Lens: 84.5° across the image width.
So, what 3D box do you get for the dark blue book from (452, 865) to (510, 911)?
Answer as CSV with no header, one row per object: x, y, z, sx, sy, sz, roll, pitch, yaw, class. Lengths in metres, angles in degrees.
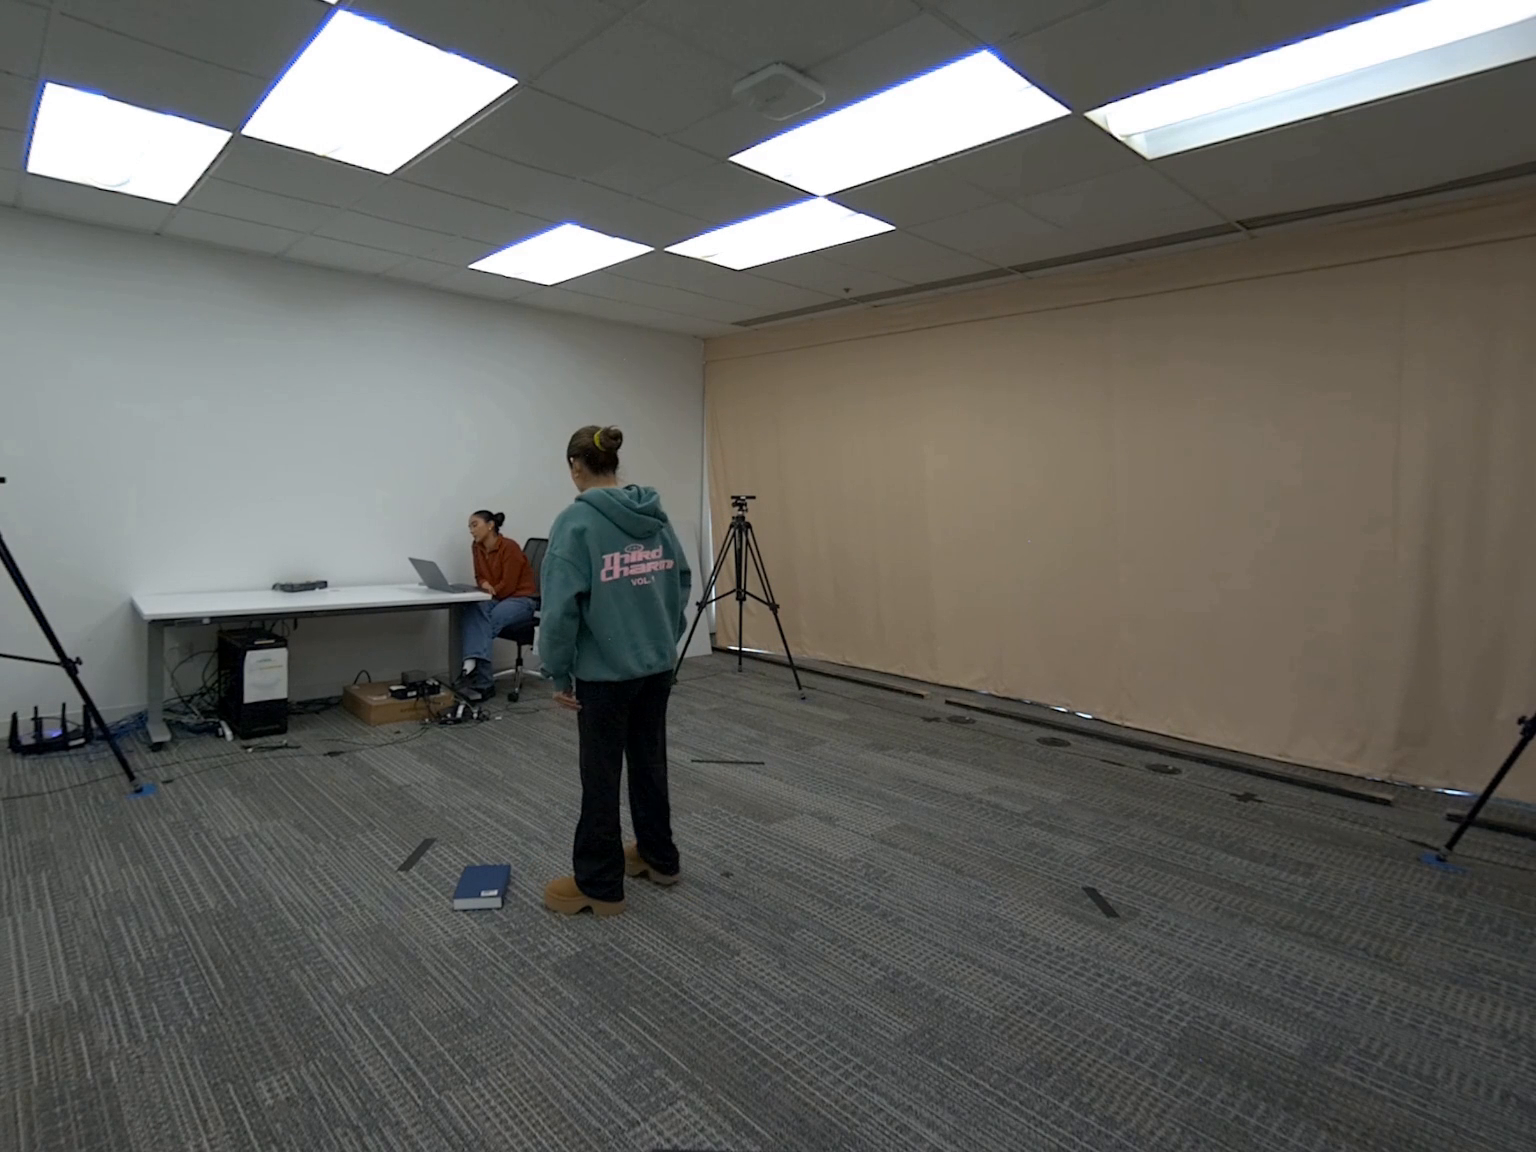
-0.993,1.076,2.920,0.162,0.045,0.248,0,6,-10,dark blue book
